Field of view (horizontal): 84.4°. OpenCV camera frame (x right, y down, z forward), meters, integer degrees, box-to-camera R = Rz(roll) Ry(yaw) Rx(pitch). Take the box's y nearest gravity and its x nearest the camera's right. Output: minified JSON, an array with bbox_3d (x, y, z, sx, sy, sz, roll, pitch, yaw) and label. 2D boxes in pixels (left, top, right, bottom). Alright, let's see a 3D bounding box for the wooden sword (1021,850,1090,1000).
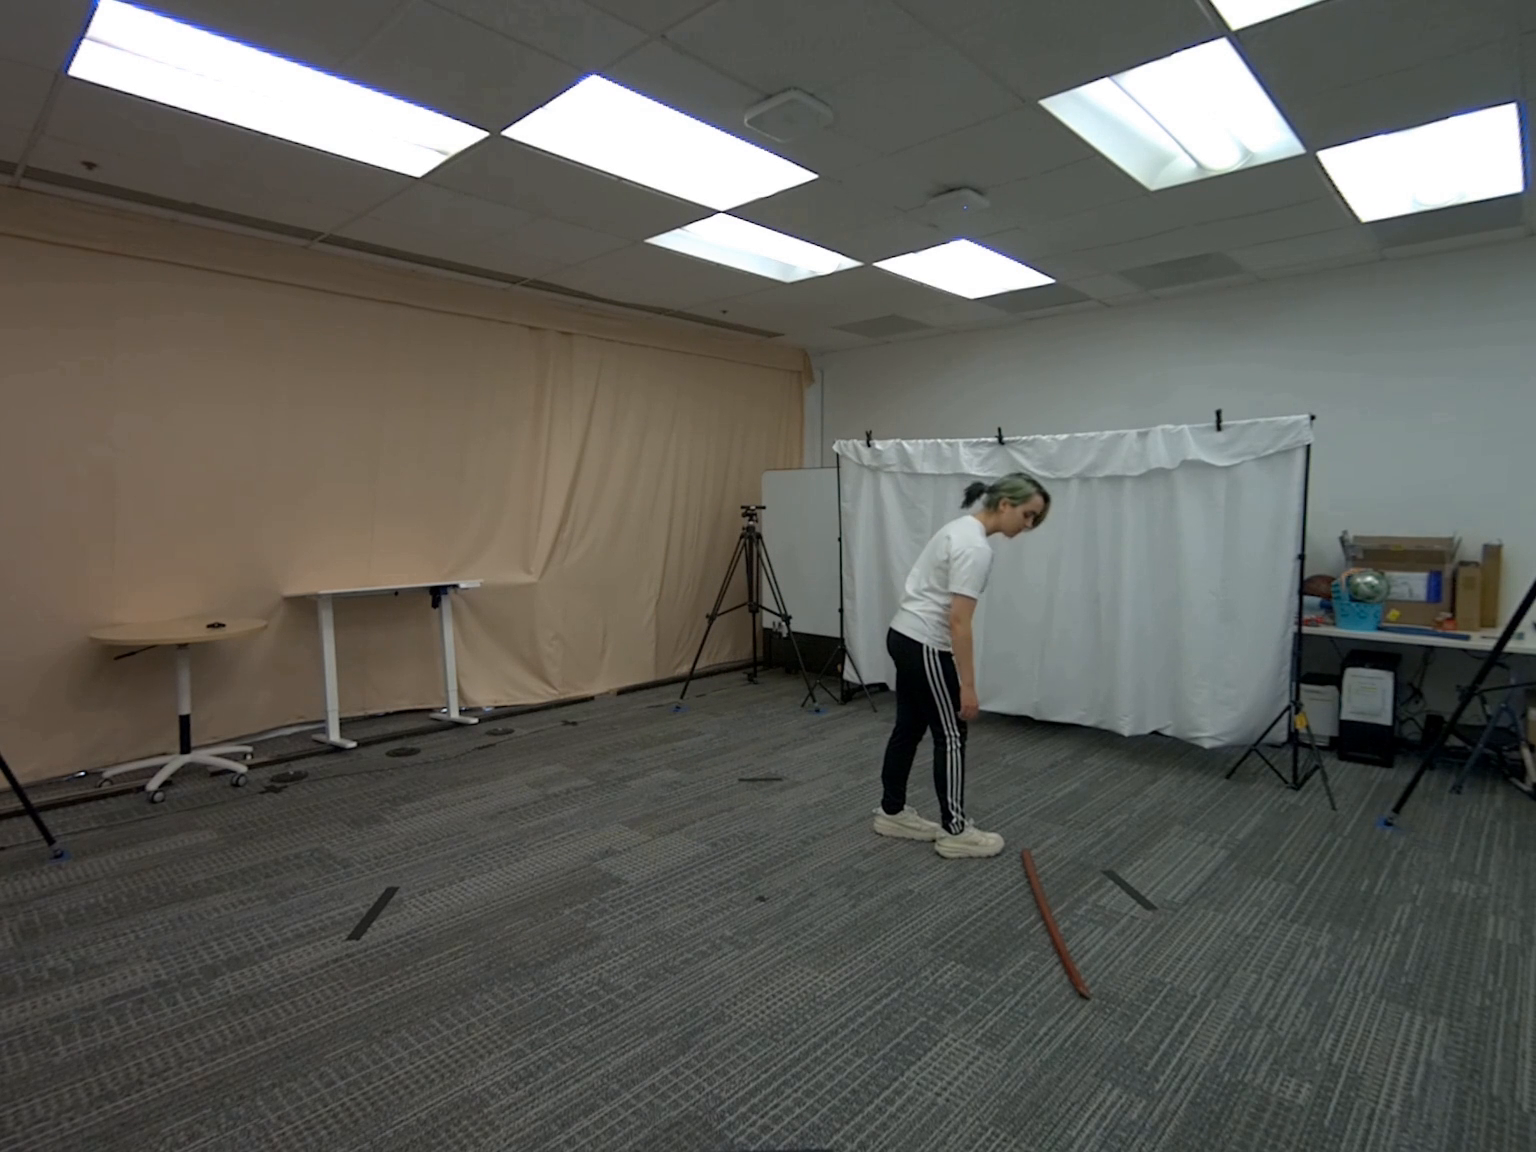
[{"bbox_3d":[0.930,1.117,2.883,0.024,0.051,1.016,41,9,3],"label":"wooden sword"}]
